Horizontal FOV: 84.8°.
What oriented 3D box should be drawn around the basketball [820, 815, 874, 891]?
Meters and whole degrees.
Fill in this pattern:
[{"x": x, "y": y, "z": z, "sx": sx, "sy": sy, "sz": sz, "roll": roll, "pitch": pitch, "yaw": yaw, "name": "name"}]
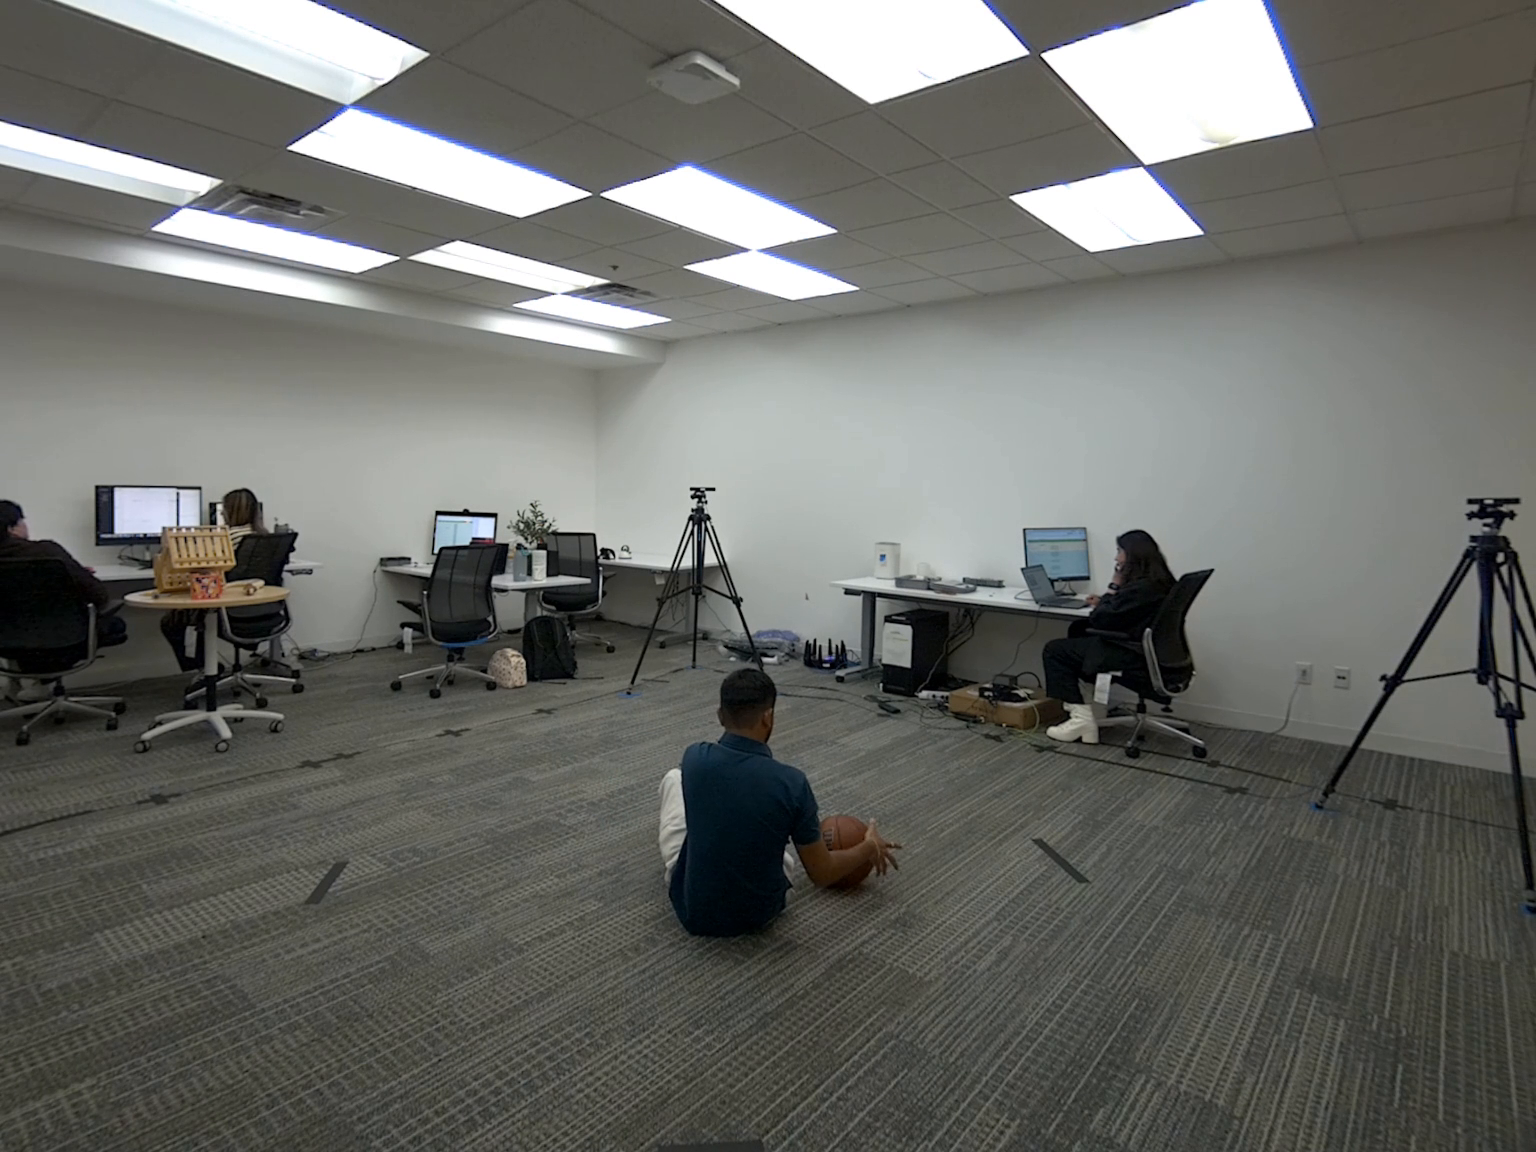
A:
[{"x": 0.257, "y": 0.963, "z": 3.004, "sx": 0.235, "sy": 0.235, "sz": 0.237, "roll": 1, "pitch": 4, "yaw": -2, "name": "basketball"}]
